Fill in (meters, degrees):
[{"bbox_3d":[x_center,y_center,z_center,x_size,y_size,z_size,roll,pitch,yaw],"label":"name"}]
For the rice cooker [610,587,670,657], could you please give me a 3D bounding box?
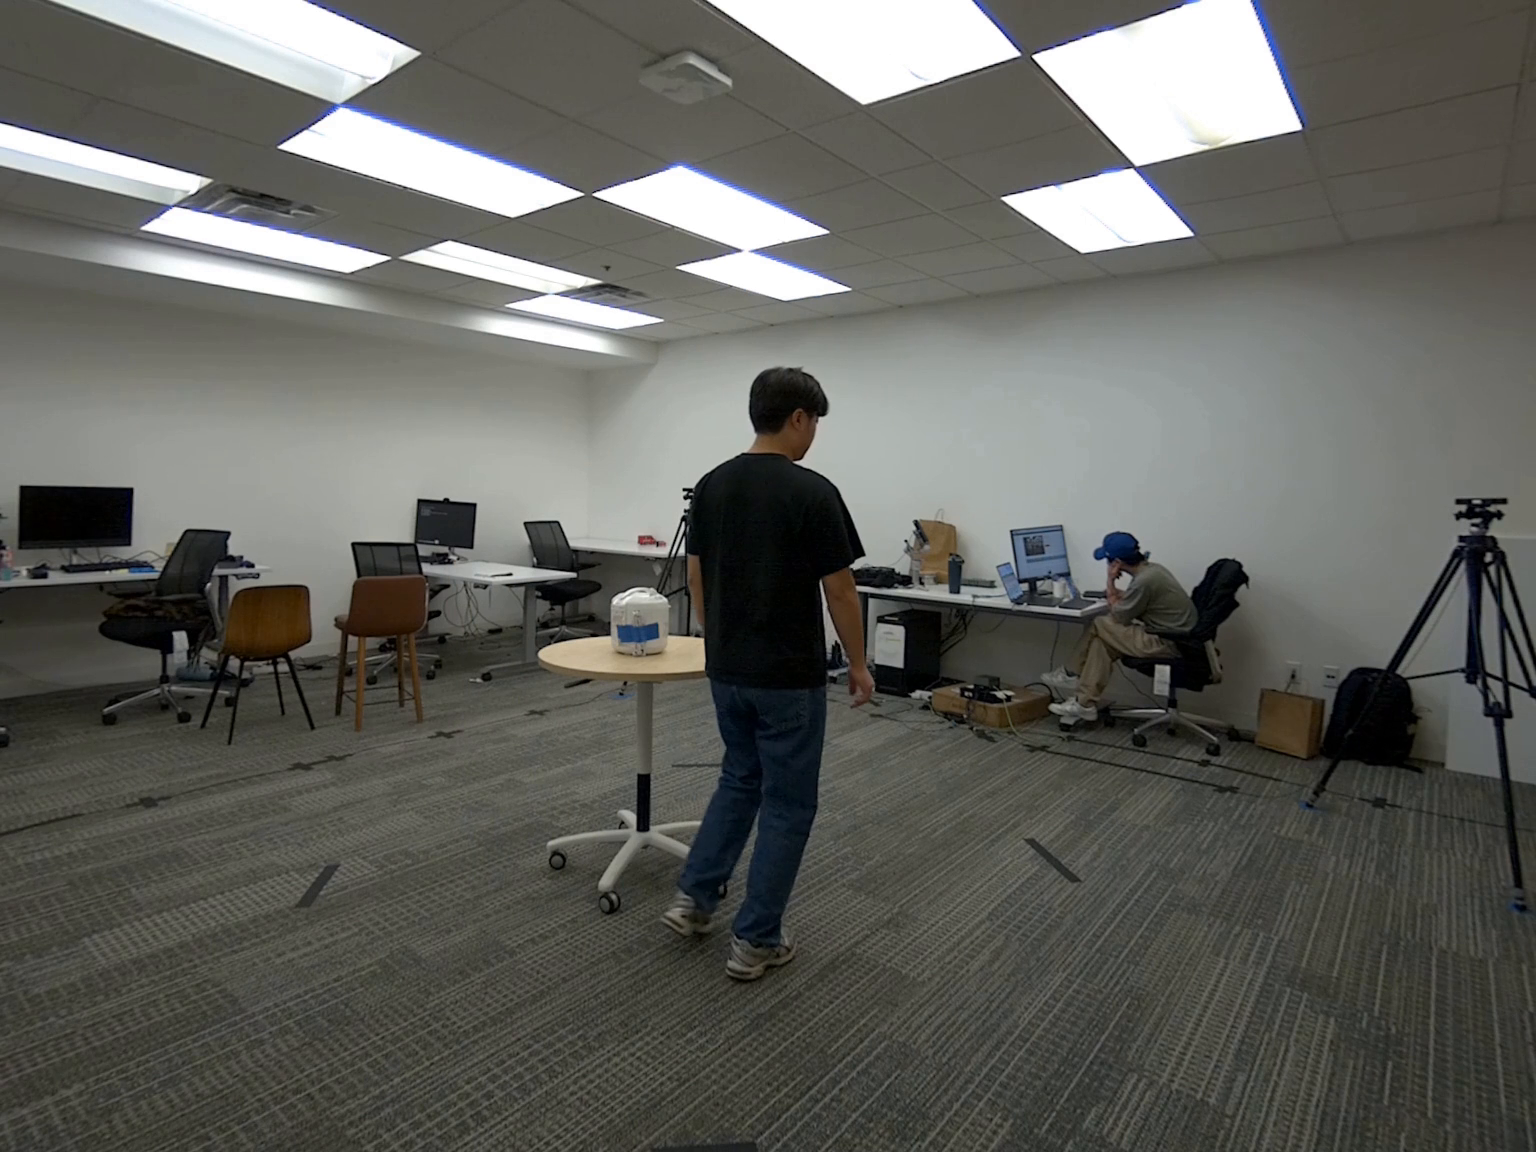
[{"bbox_3d":[-0.478,0.154,3.086,0.225,0.232,0.214,5,5,41],"label":"rice cooker"}]
